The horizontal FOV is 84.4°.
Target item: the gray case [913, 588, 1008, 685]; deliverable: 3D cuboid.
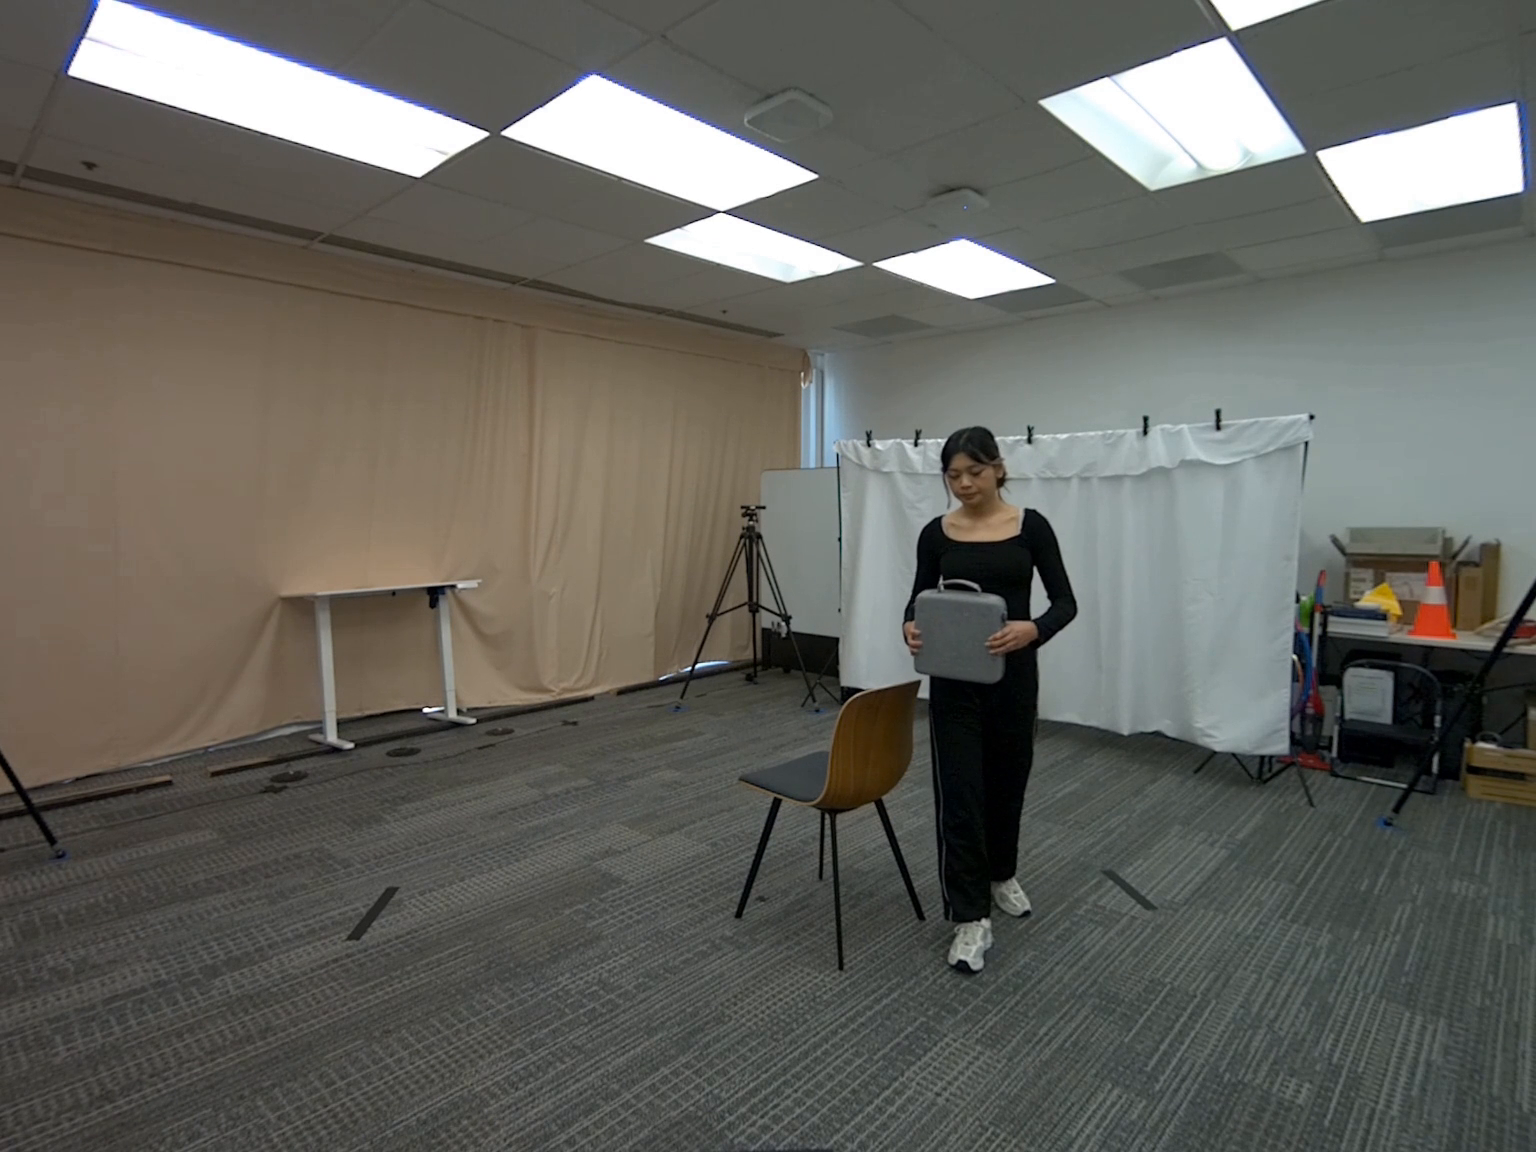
[{"bbox_3d":[0.566,0.172,2.485,0.265,0.259,0.102,4,9,32],"label":"gray case"}]
